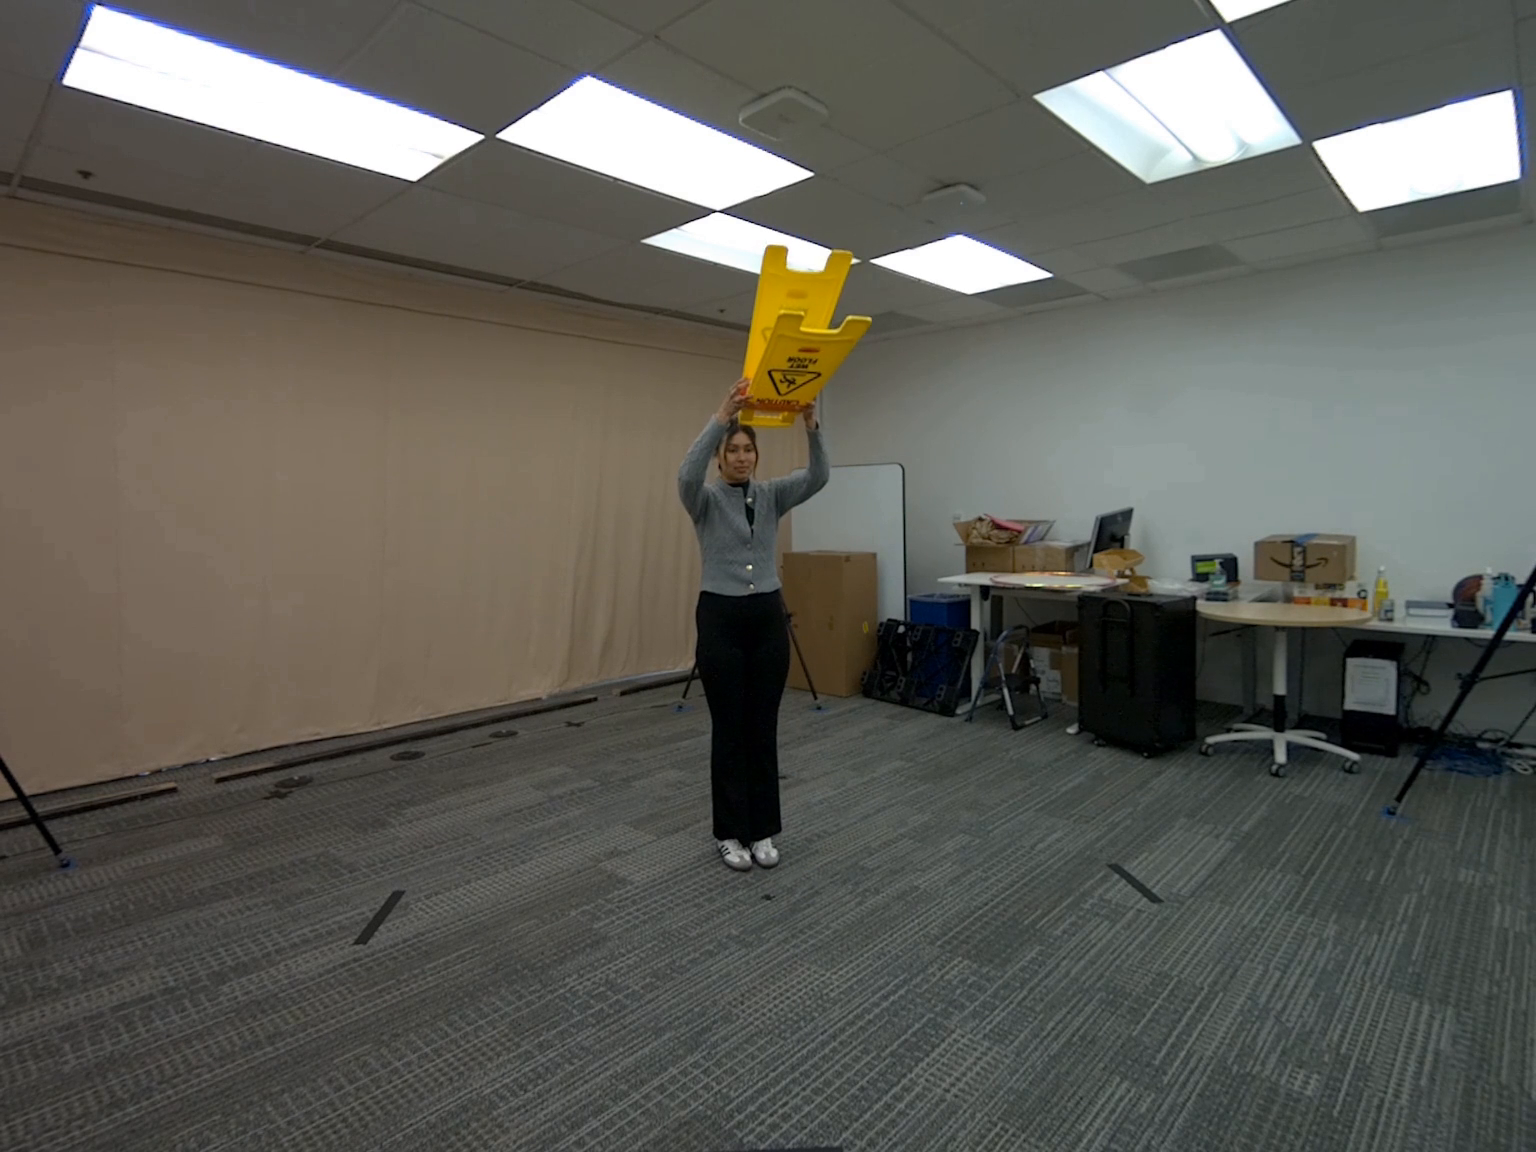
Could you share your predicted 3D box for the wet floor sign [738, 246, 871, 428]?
[{"bbox_3d":[0.072,-0.702,2.722,0.278,0.295,0.642,1,-30,-14],"label":"wet floor sign"}]
